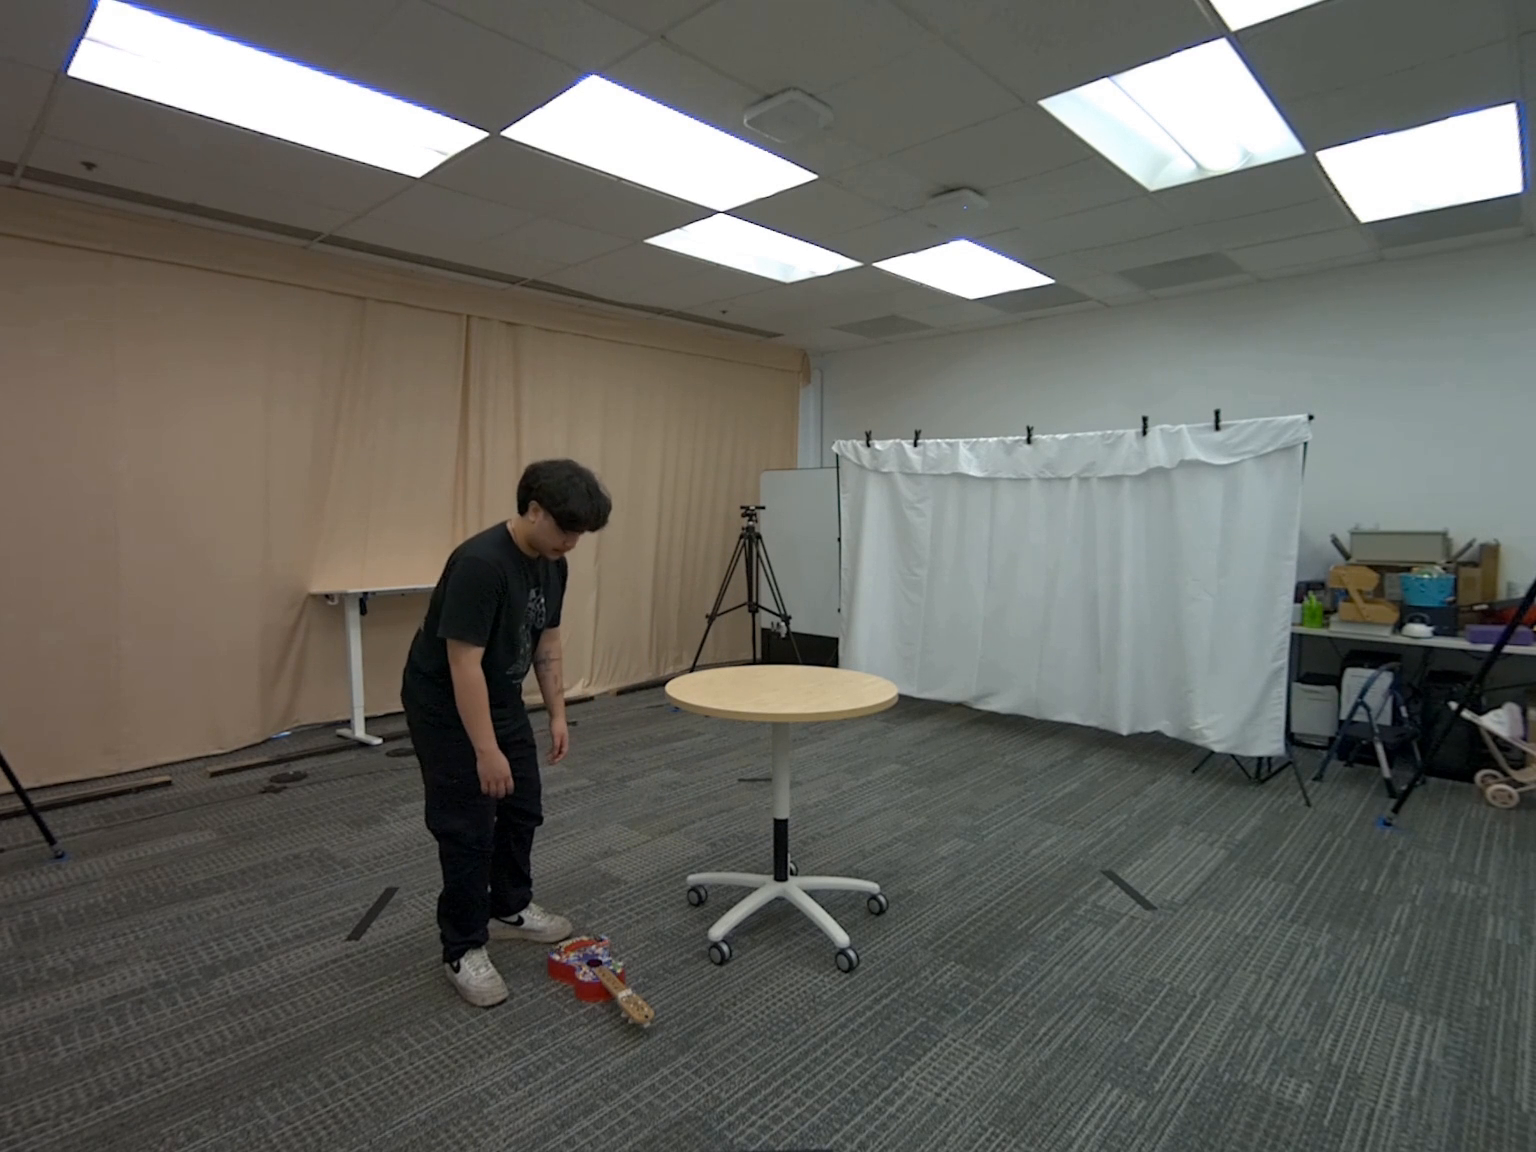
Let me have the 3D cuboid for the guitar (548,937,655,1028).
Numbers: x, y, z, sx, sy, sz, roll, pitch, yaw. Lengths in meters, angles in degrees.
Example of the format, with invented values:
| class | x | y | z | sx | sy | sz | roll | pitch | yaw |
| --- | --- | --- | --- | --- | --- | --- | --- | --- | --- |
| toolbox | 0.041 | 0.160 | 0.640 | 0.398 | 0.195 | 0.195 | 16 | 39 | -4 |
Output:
| class | x | y | z | sx | sy | sz | roll | pitch | yaw |
| --- | --- | --- | --- | --- | --- | --- | --- | --- | --- |
| guitar | -0.485 | 1.169 | 2.381 | 0.188 | 0.070 | 0.511 | -2 | 4 | -27 |
